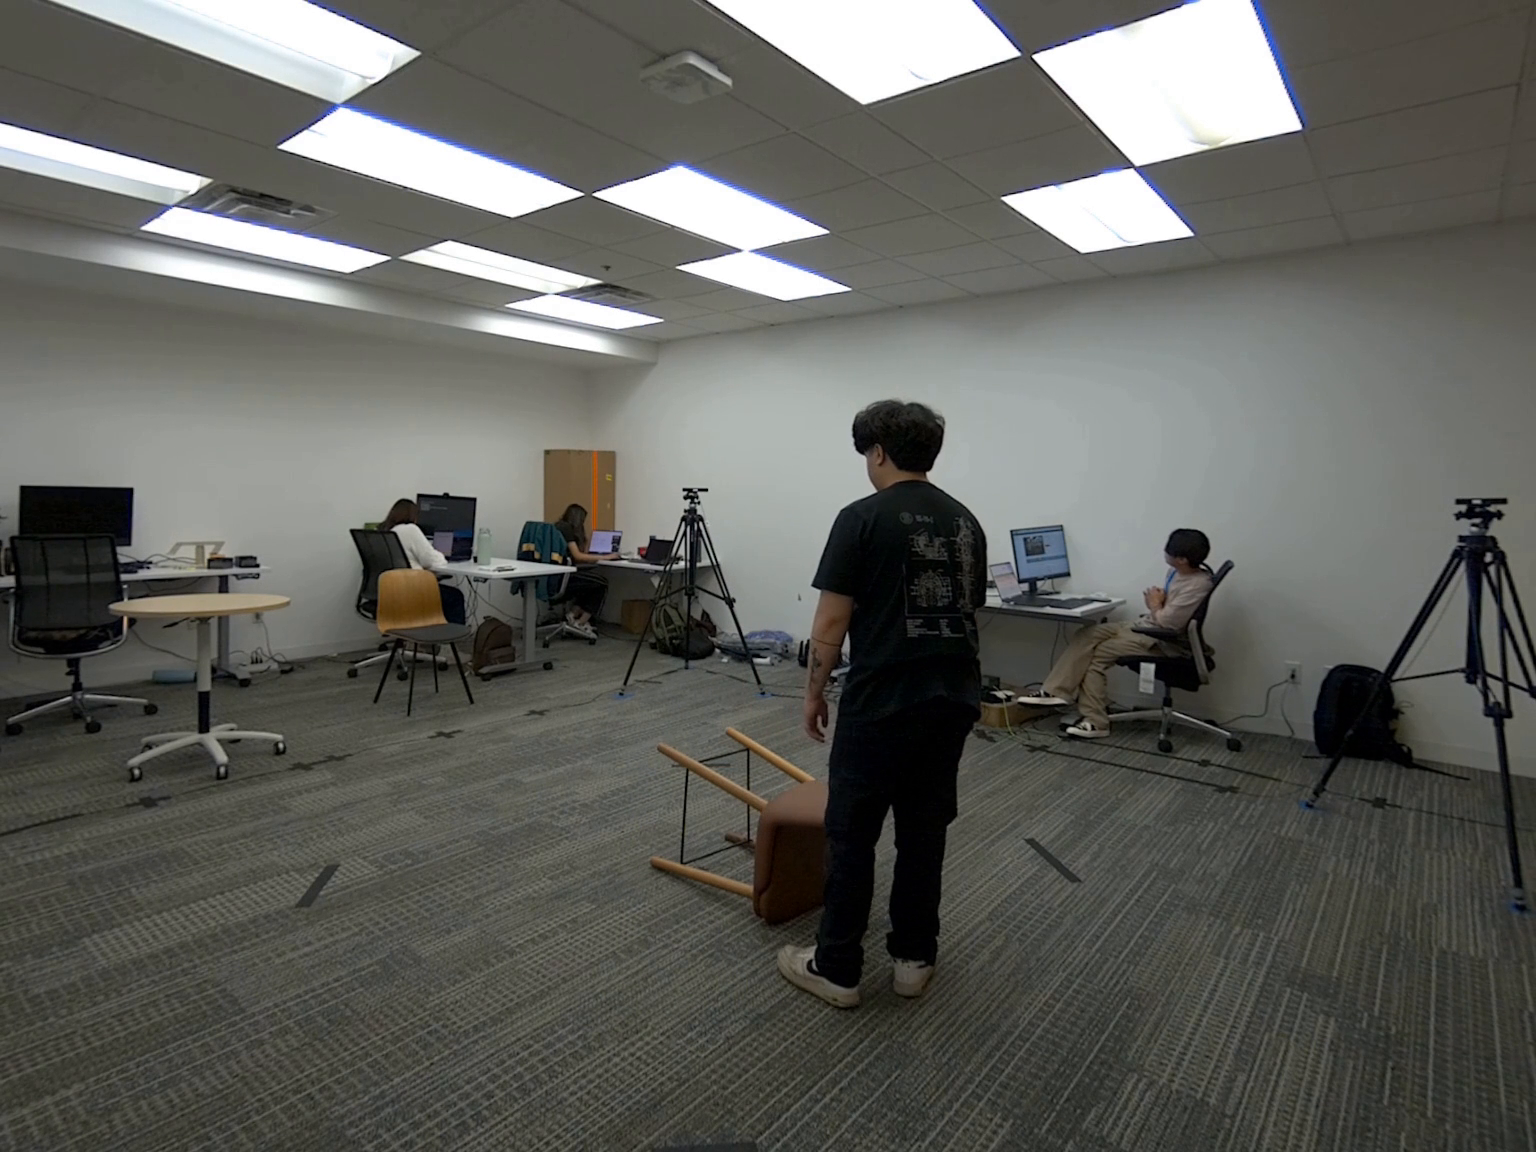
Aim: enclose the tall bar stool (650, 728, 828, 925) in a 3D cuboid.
[{"bbox_3d":[0.020,0.864,2.928,0.920,0.466,0.442,5,5,45],"label":"tall bar stool"}]
